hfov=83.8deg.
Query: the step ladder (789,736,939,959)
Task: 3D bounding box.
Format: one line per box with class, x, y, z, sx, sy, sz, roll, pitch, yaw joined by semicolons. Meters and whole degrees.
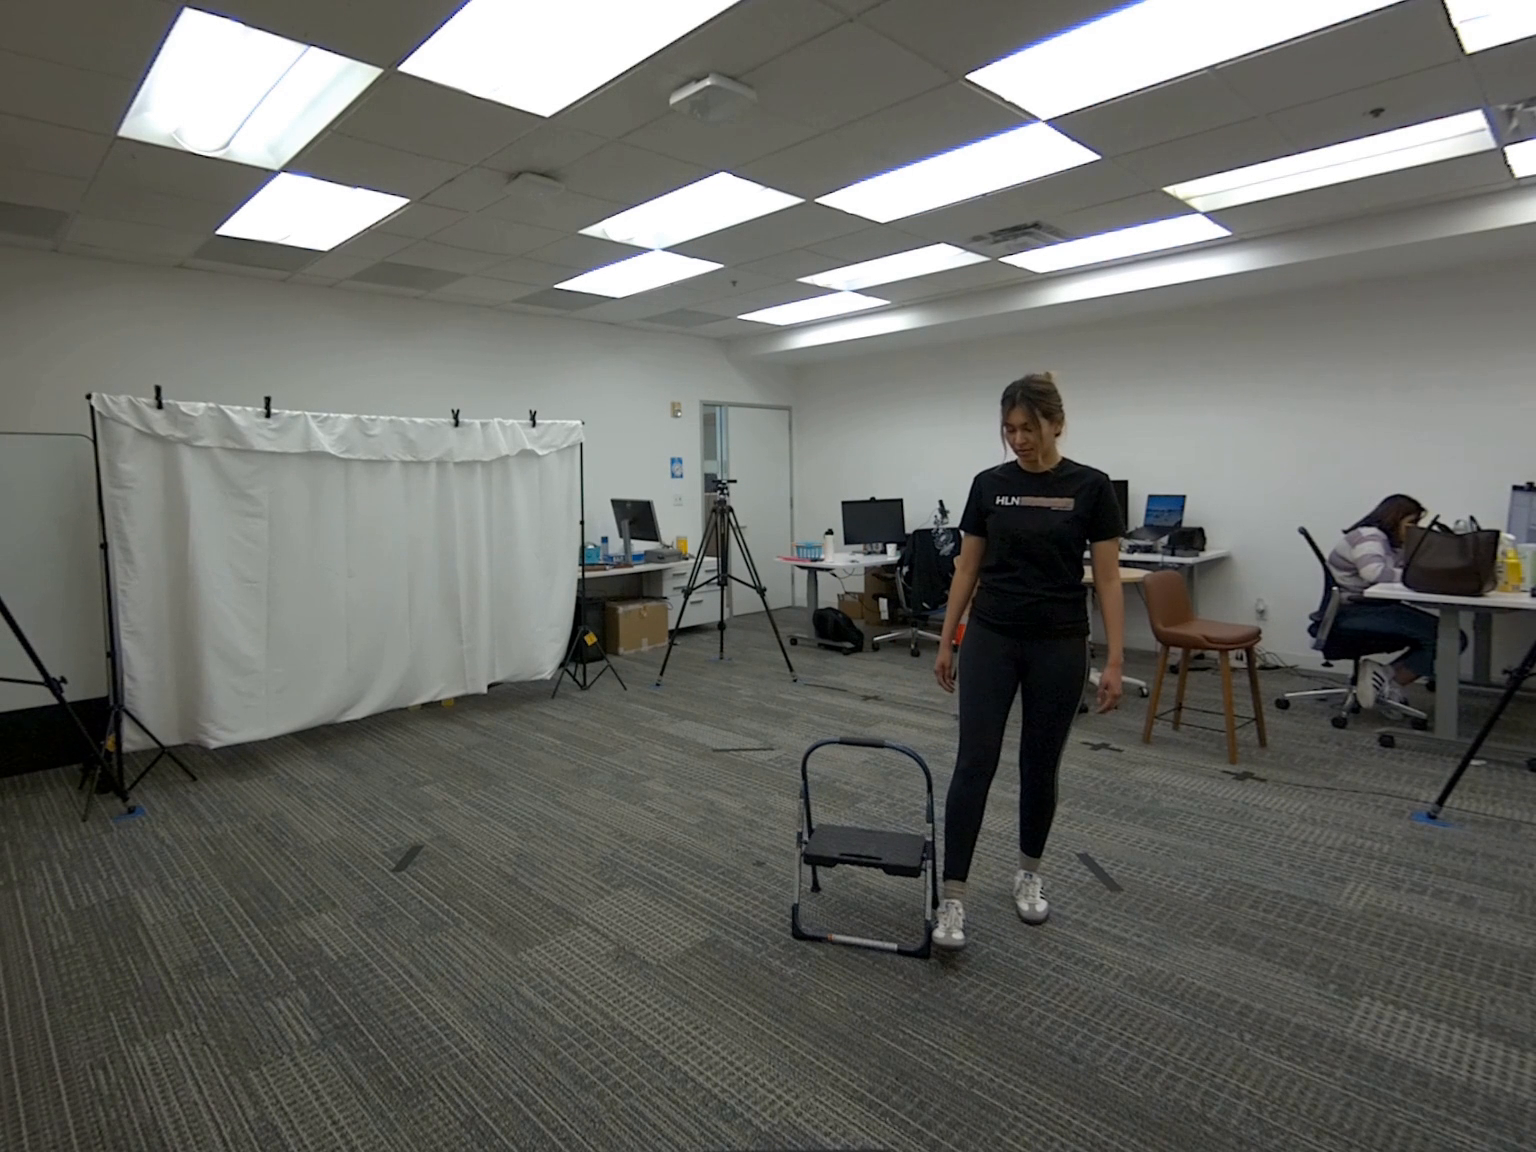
step ladder;0.310;0.792;2.680;0.438;0.605;0.344;0;3;16
